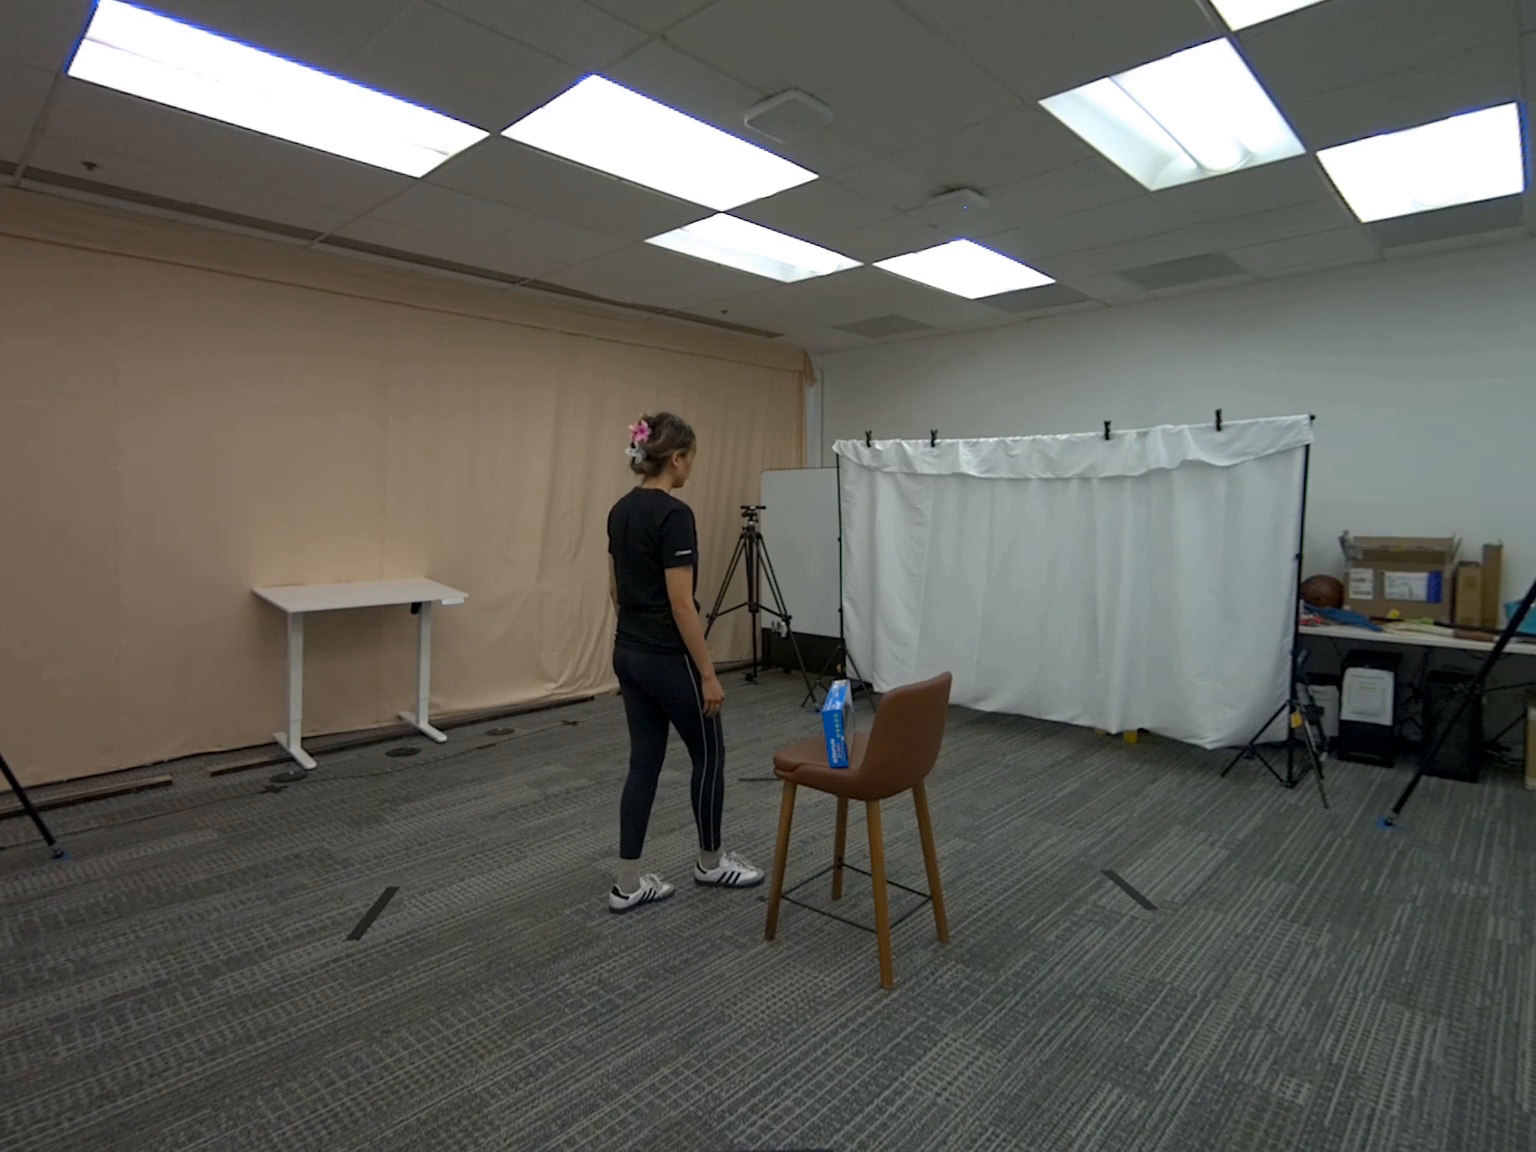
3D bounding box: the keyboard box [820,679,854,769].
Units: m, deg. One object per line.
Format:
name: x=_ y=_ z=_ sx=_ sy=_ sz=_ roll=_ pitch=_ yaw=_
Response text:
keyboard box: x=0.235 y=0.462 z=2.701 sx=0.060 sy=0.175 sz=0.434 roll=-6 pitch=4 yaw=8
